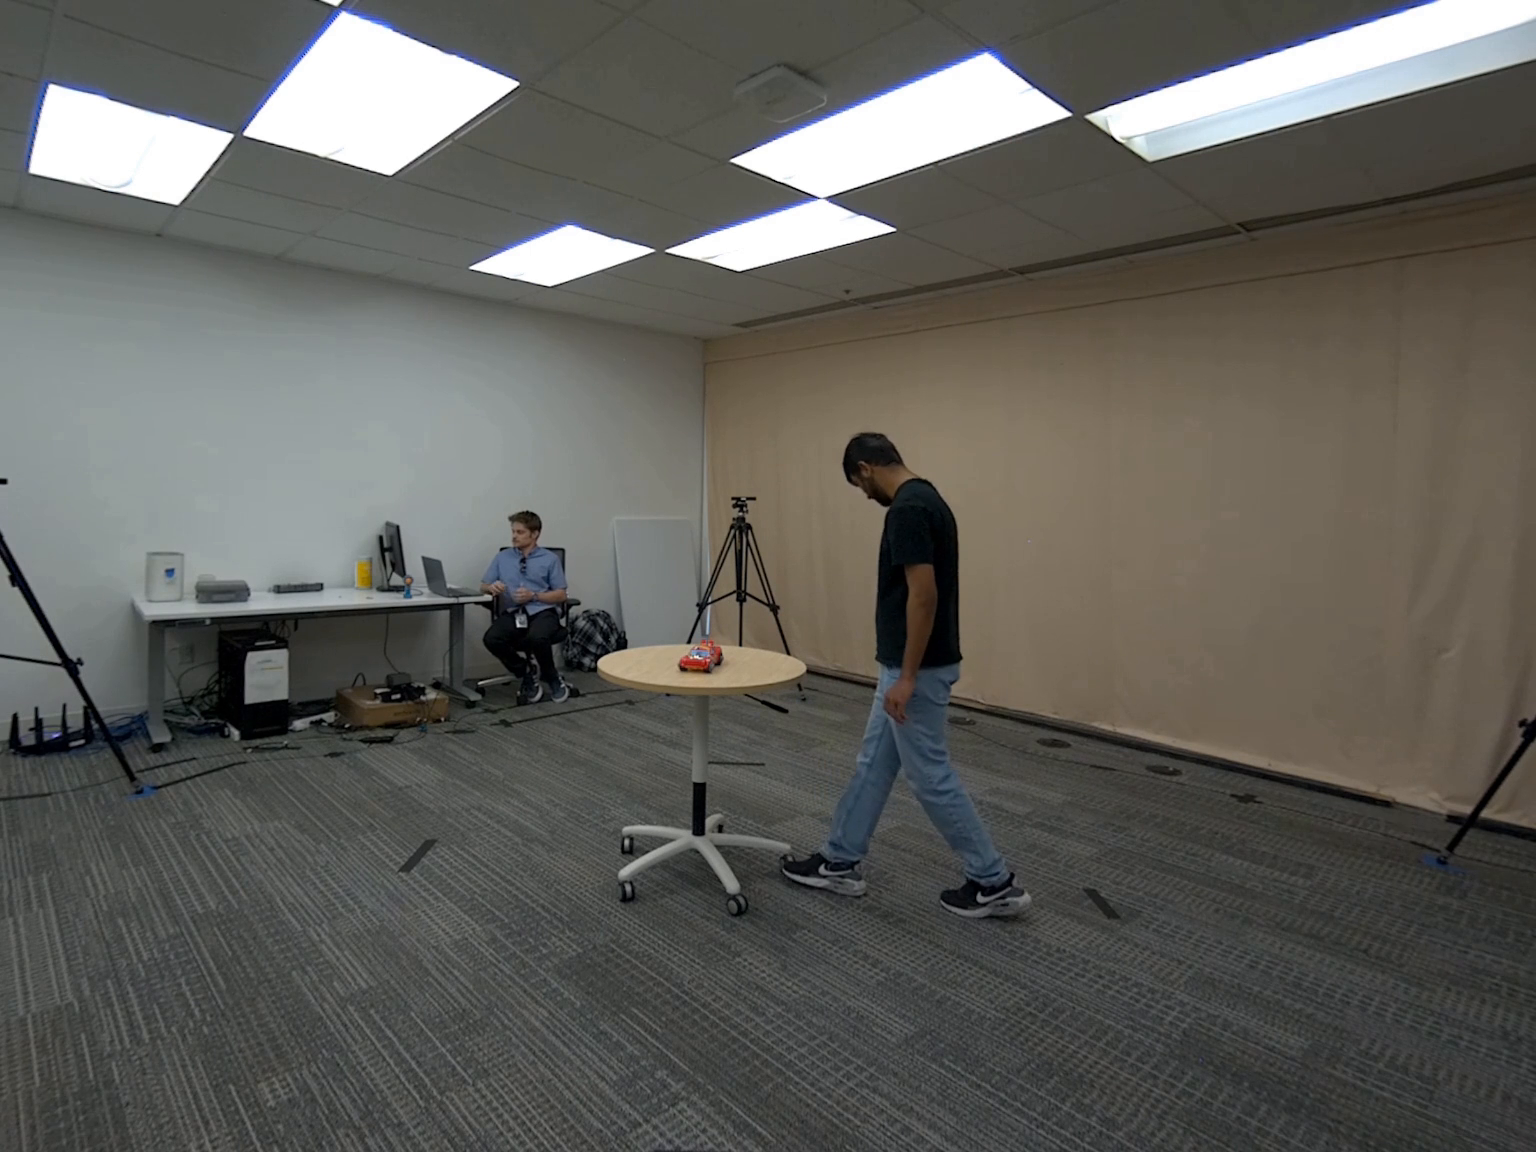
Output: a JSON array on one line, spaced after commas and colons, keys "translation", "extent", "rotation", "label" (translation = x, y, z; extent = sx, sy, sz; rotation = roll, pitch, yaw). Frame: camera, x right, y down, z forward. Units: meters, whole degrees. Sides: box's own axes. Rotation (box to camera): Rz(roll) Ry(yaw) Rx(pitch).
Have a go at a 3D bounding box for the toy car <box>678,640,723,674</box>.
[{"translation": [-0.235, 0.294, 3.041], "extent": [0.131, 0.082, 0.255], "rotation": [2, 16, 10], "label": "toy car"}]
